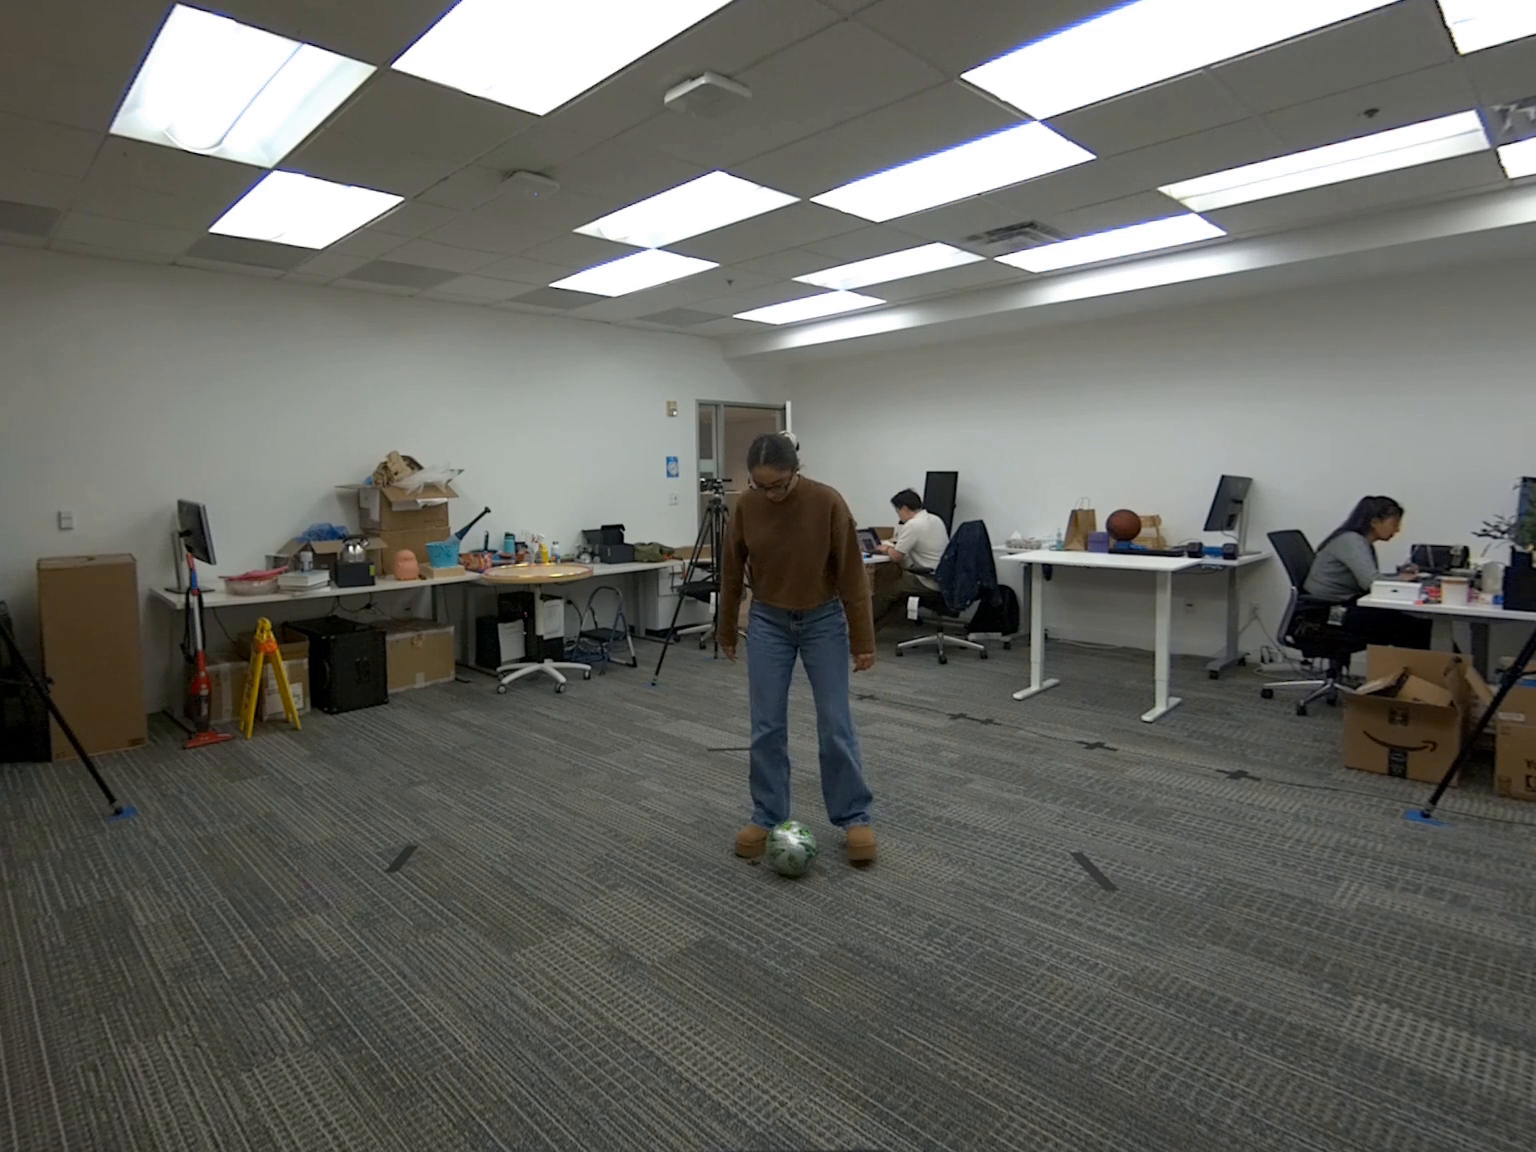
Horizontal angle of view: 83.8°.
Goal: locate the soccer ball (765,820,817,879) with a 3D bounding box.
[{"bbox_3d":[0.084,0.962,3.014,0.187,0.187,0.188,-1,5,-2],"label":"soccer ball"}]
